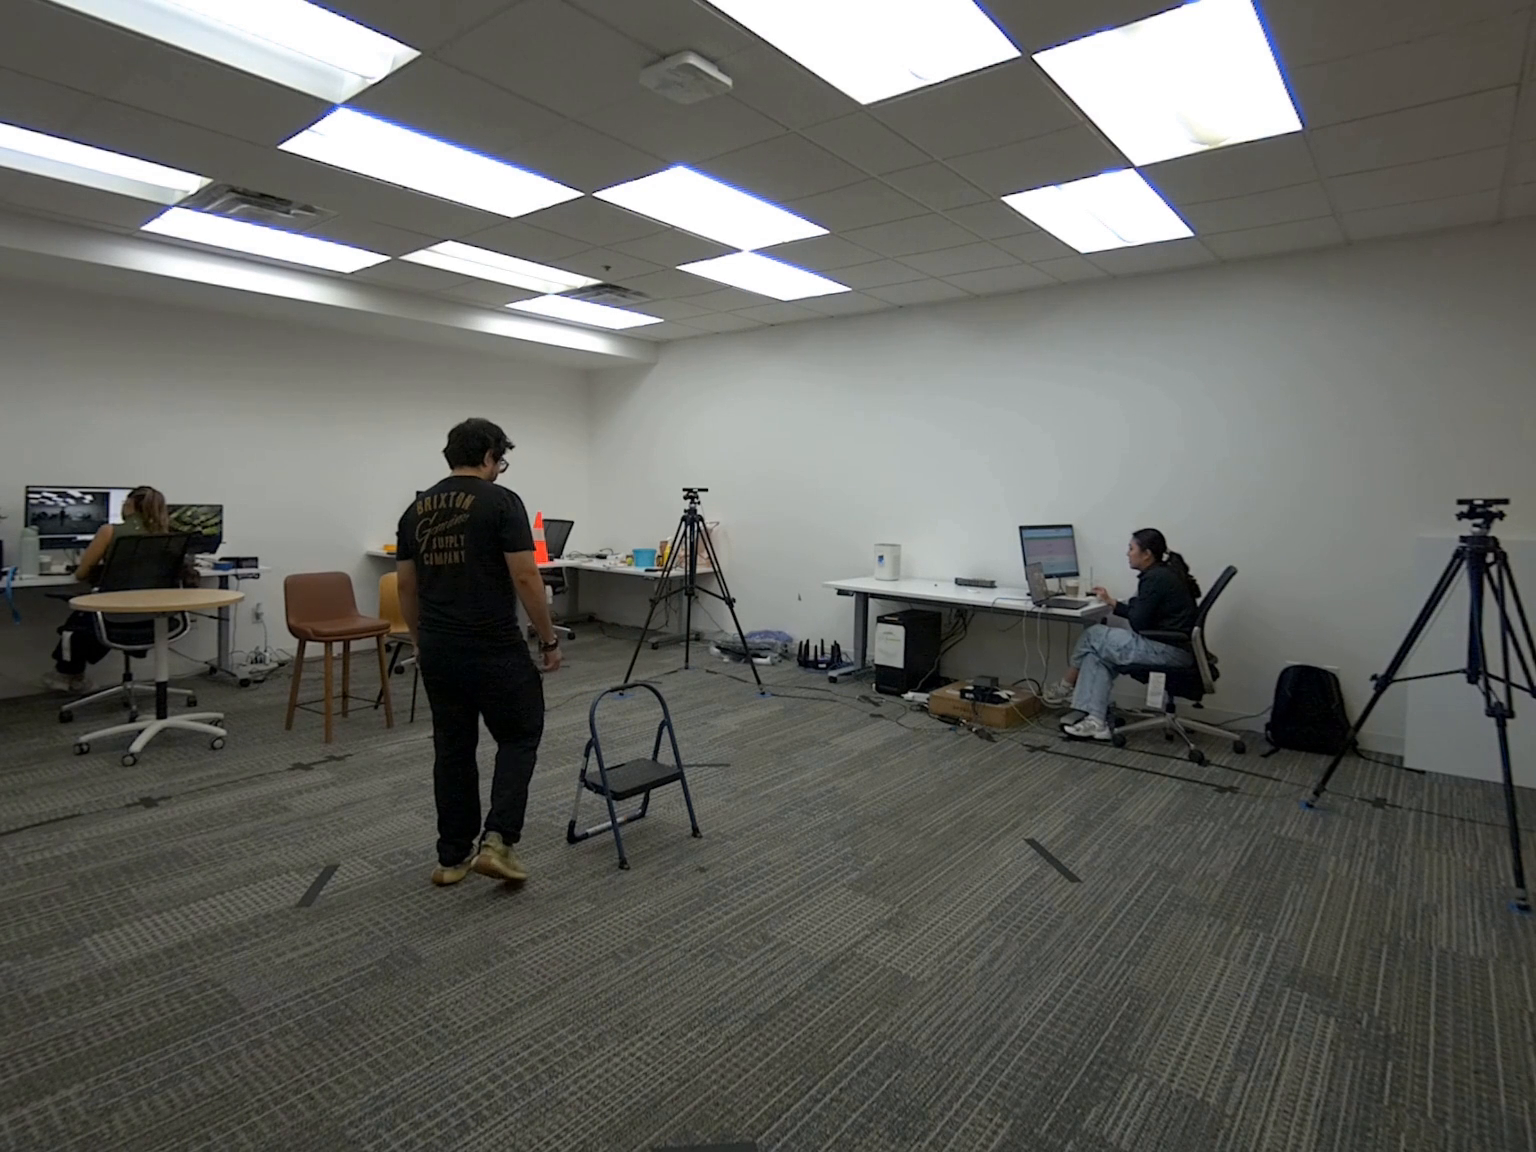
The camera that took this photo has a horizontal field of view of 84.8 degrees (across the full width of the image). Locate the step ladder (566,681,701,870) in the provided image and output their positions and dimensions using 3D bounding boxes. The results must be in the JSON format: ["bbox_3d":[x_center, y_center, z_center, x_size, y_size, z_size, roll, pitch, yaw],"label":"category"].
[{"bbox_3d":[-0.531,0.736,3.348,0.361,0.604,0.418,4,5,39],"label":"step ladder"}]
